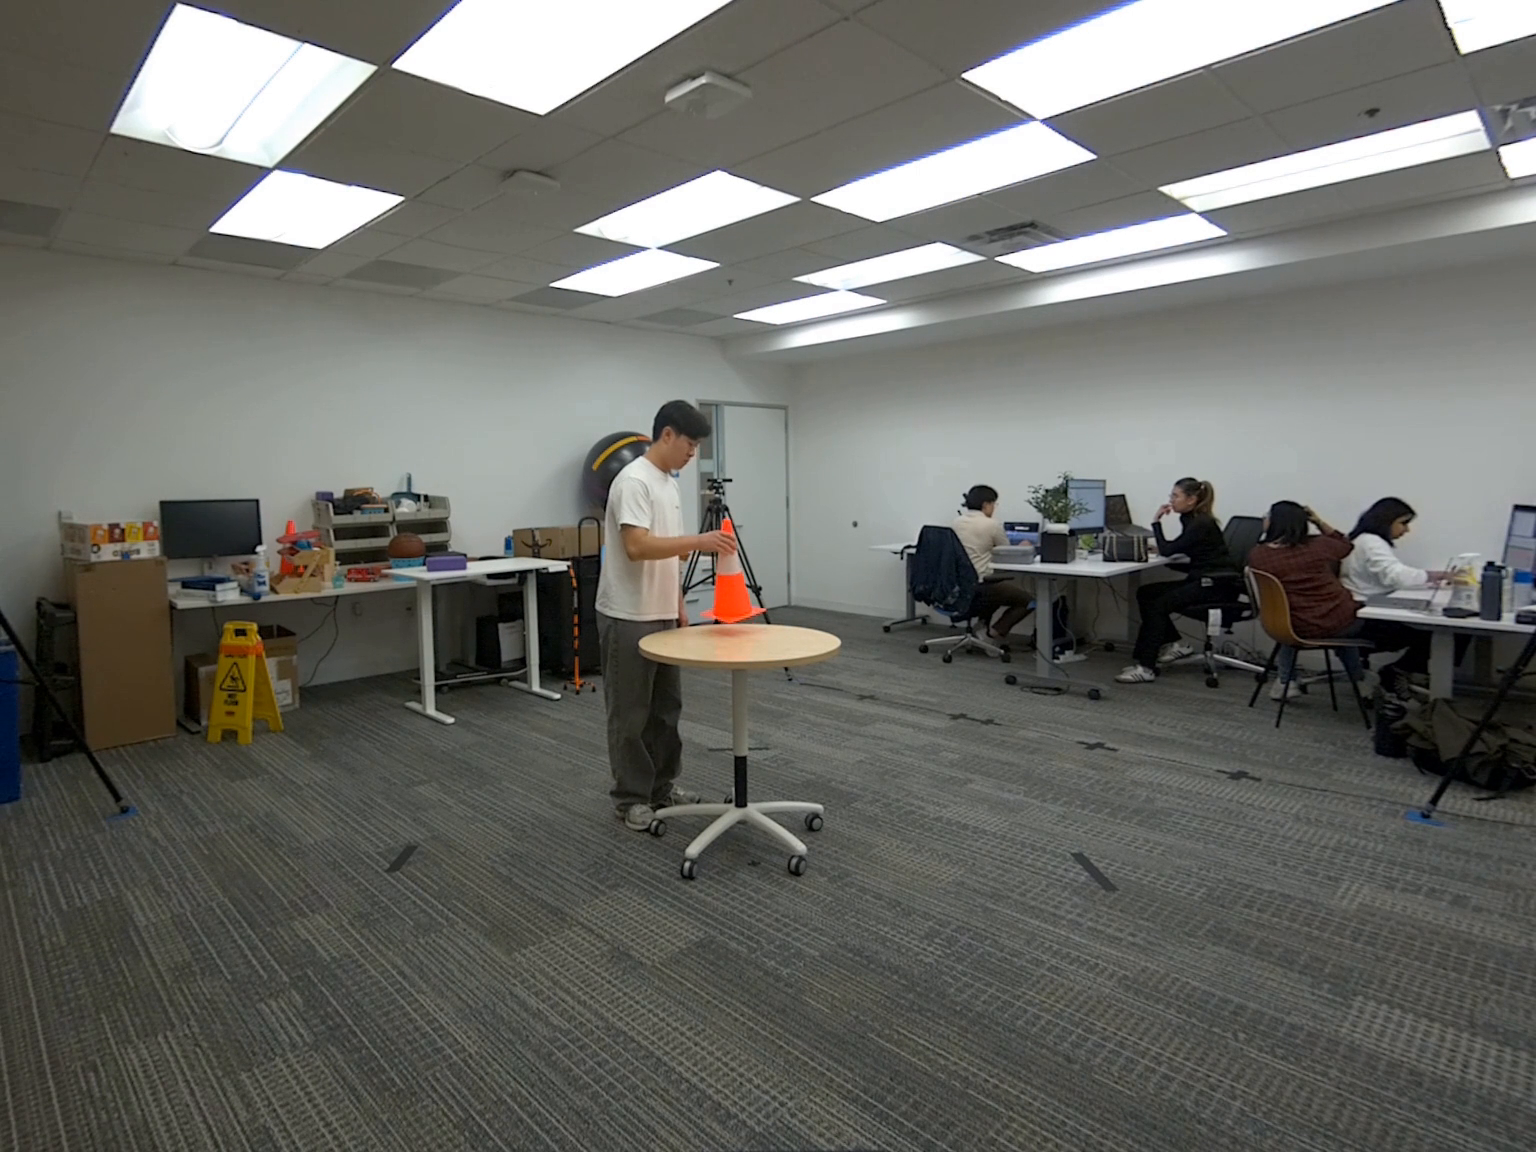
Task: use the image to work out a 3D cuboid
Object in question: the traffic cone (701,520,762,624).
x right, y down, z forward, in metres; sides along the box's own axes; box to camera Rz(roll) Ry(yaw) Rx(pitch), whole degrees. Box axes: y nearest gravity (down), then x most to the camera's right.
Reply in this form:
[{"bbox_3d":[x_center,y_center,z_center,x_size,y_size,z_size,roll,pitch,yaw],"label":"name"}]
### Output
[{"bbox_3d":[-0.163,-0.028,3.386,0.208,0.380,0.202,1,12,26],"label":"traffic cone"}]
